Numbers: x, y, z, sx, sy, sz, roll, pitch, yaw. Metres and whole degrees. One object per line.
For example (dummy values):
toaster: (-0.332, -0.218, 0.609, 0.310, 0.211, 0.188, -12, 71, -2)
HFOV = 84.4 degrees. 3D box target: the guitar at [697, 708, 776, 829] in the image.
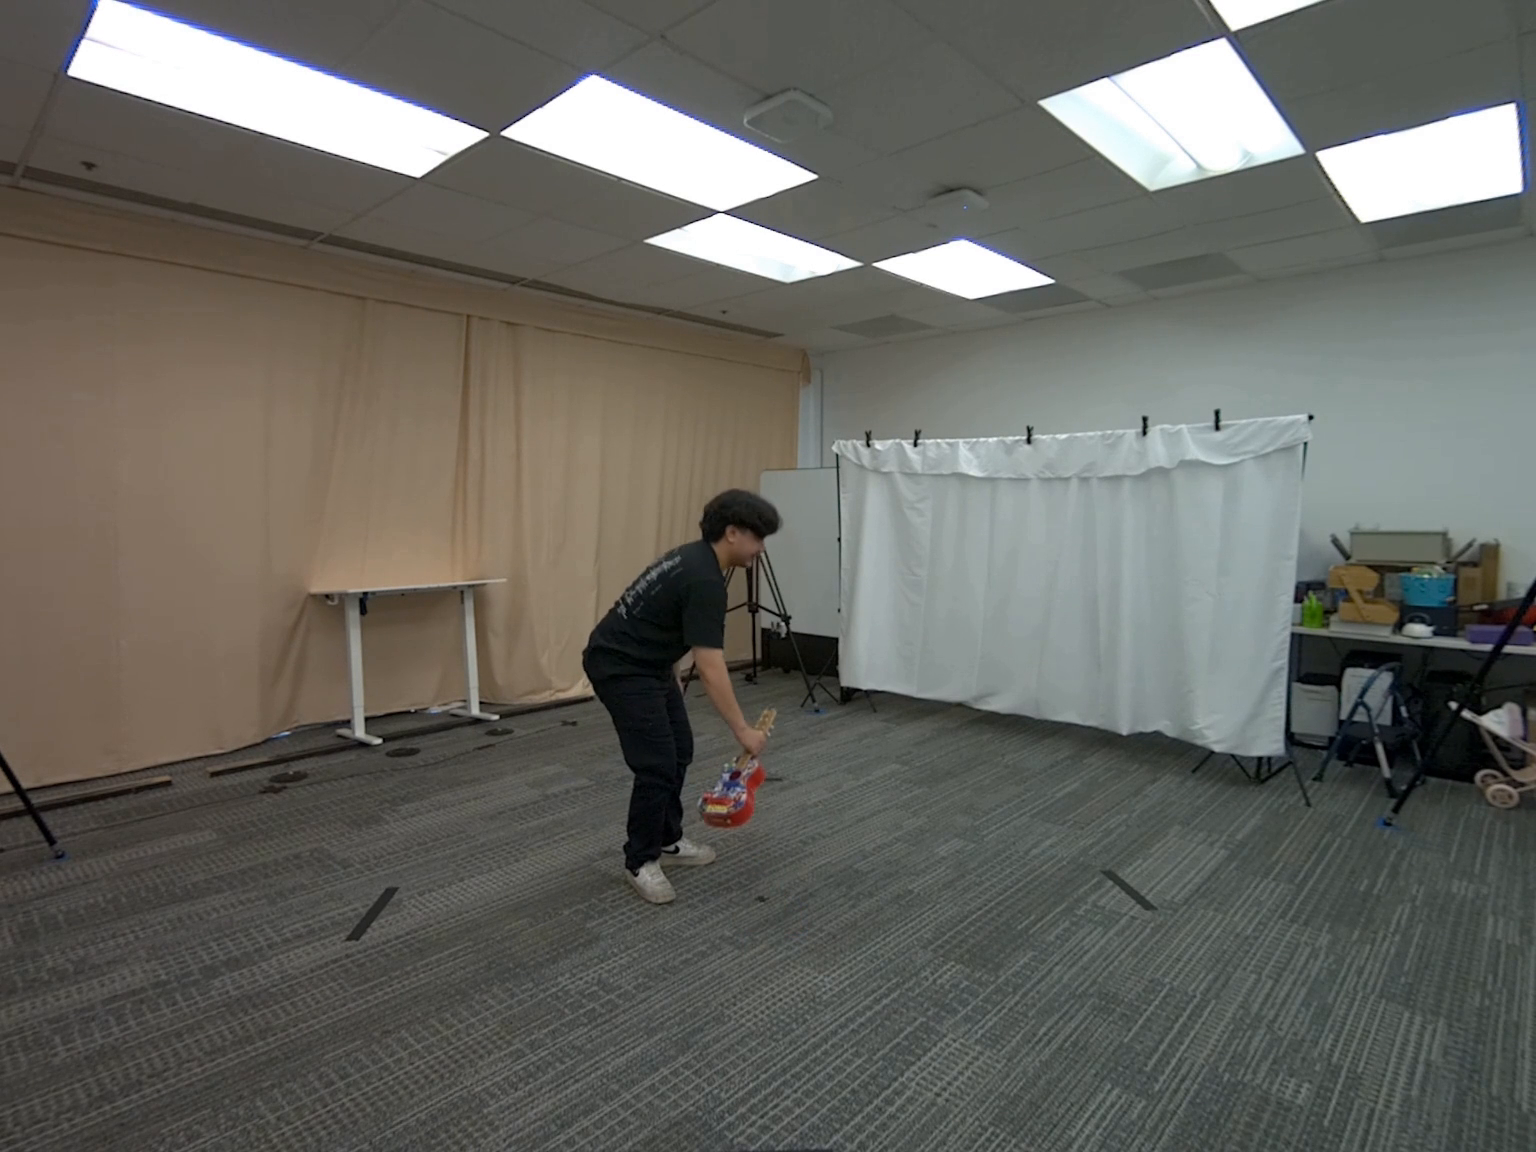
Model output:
guitar: (-0.046, 0.665, 2.914, 0.199, 0.069, 0.494, -4, 35, 42)
